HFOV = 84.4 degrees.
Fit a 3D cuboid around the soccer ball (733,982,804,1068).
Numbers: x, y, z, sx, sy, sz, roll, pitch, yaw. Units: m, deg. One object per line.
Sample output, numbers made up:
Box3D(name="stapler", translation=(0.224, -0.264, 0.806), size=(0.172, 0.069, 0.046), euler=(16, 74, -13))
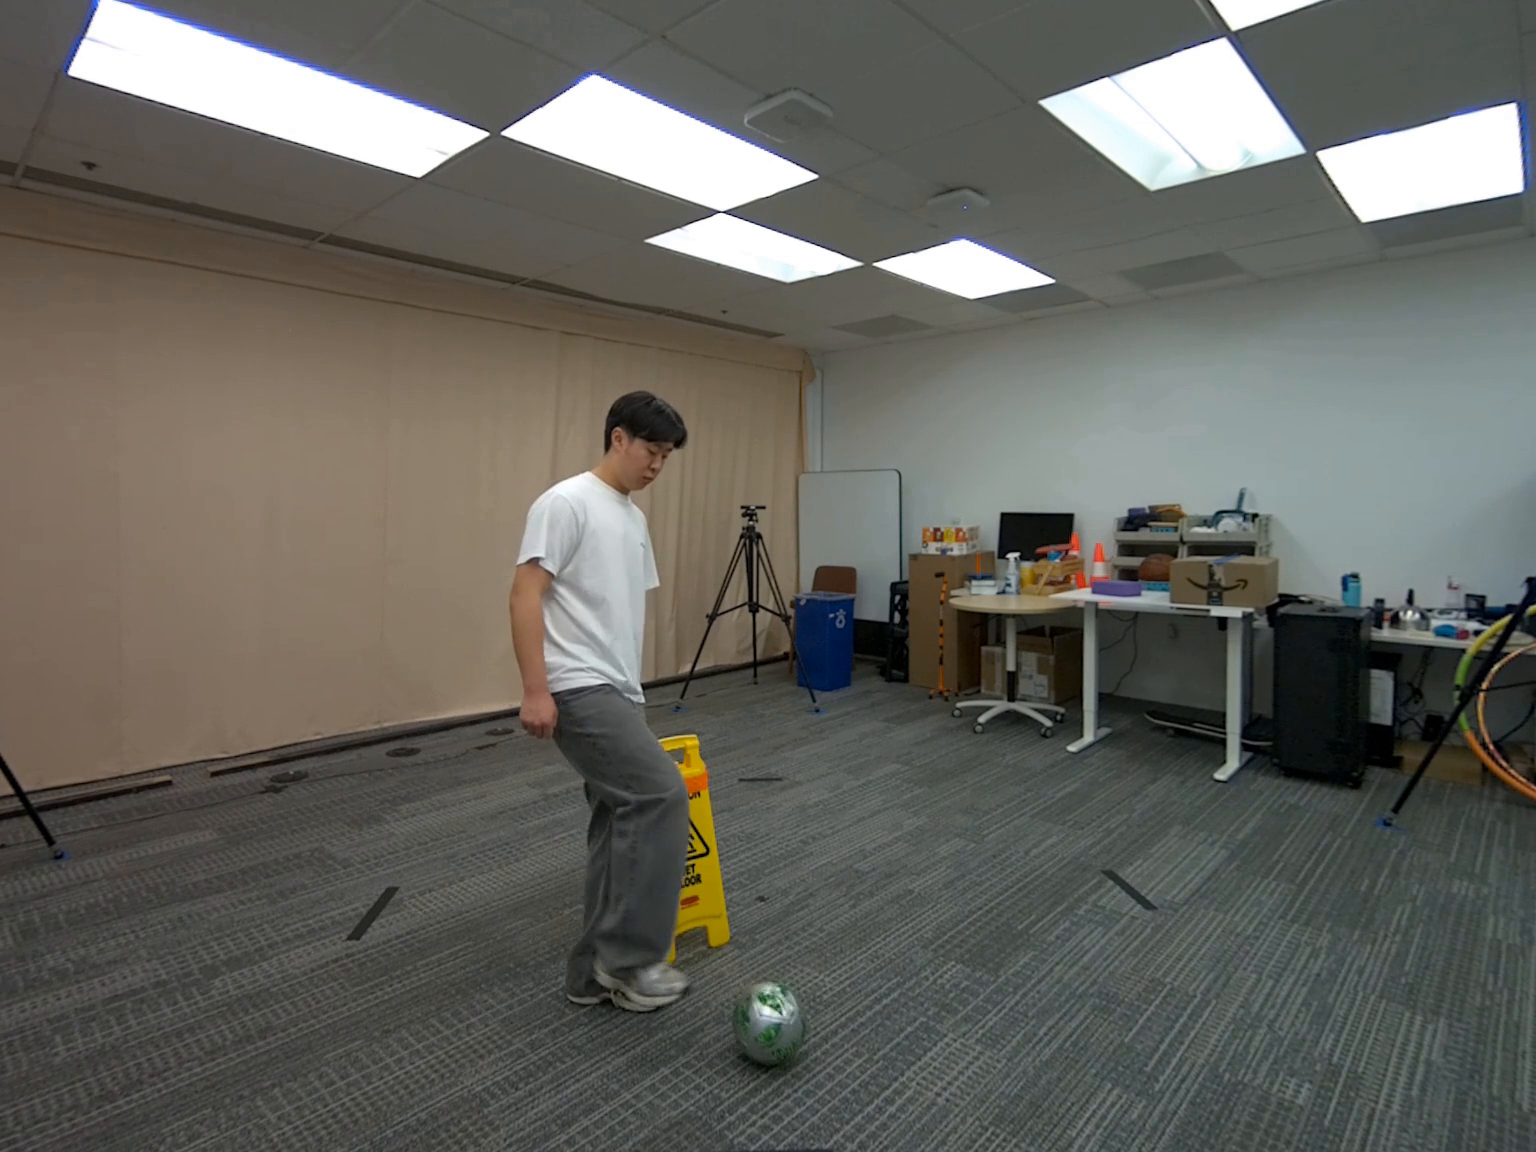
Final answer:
Box3D(name="soccer ball", translation=(0.011, 1.130, 2.114), size=(0.187, 0.187, 0.188), euler=(0, 4, -2))
